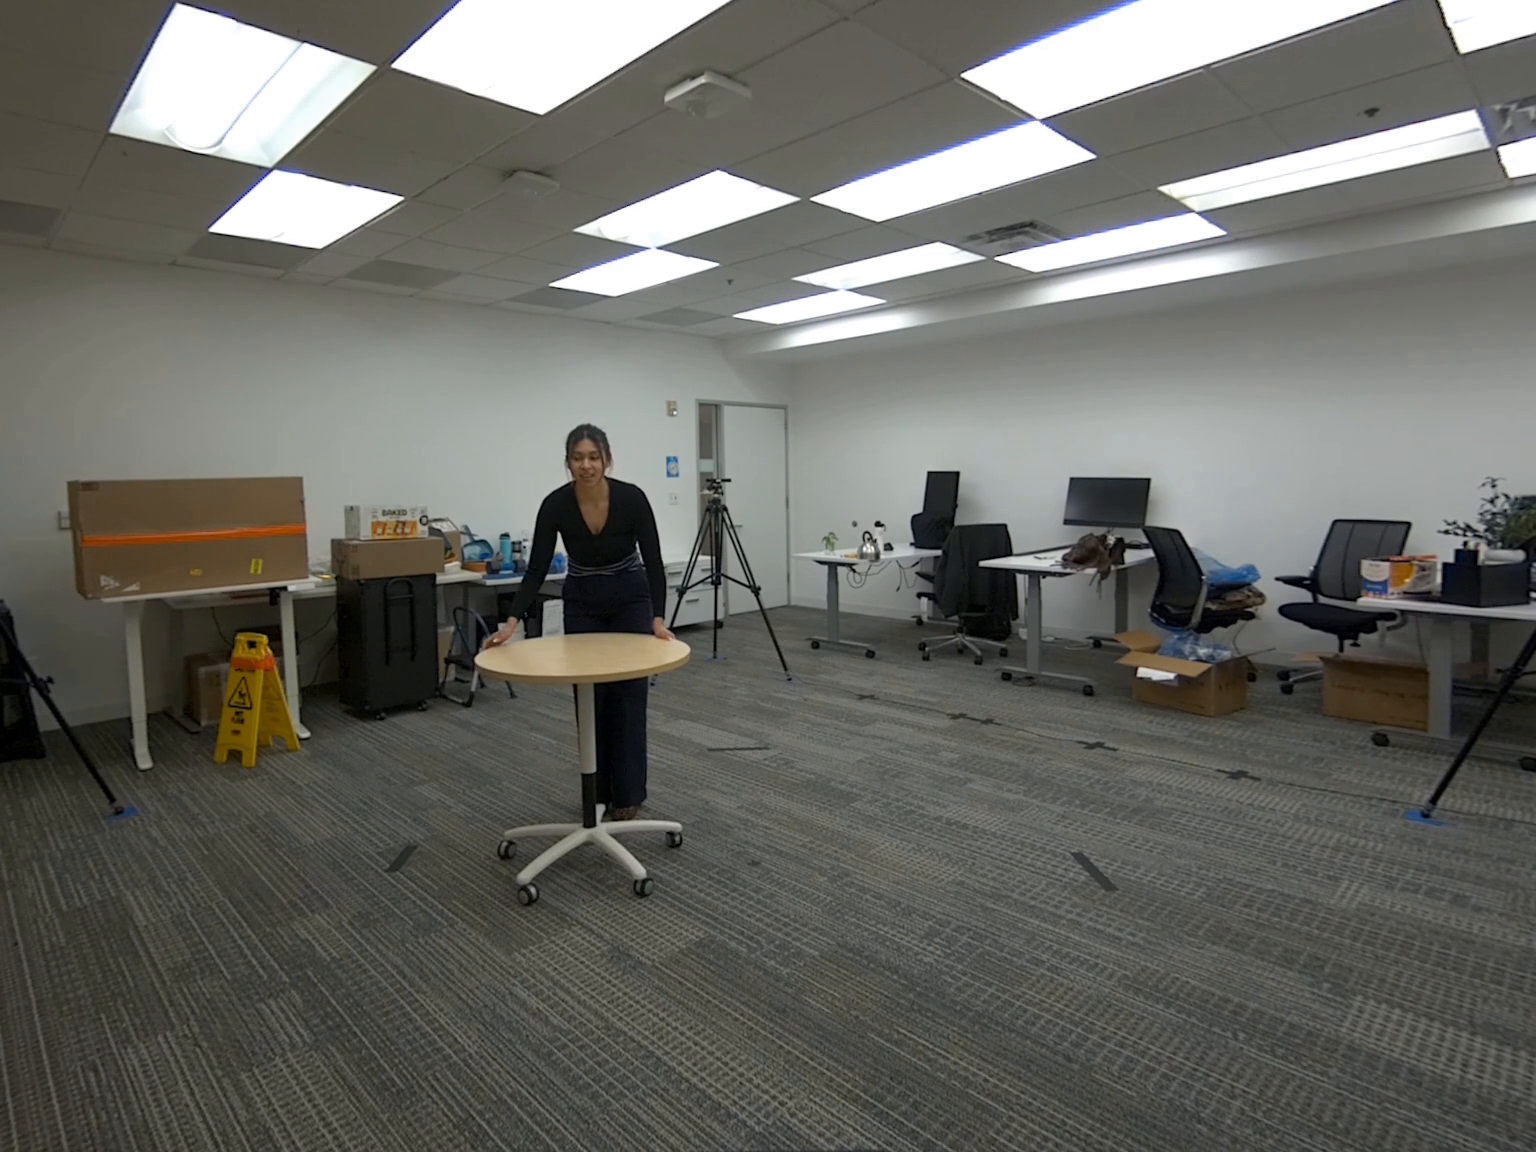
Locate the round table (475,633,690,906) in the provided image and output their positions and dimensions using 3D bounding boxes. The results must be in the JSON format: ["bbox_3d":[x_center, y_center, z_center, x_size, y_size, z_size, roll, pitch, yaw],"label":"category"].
[{"bbox_3d":[-0.662,0.669,3.103,0.763,0.791,0.767,-1,4,-2],"label":"round table"}]
